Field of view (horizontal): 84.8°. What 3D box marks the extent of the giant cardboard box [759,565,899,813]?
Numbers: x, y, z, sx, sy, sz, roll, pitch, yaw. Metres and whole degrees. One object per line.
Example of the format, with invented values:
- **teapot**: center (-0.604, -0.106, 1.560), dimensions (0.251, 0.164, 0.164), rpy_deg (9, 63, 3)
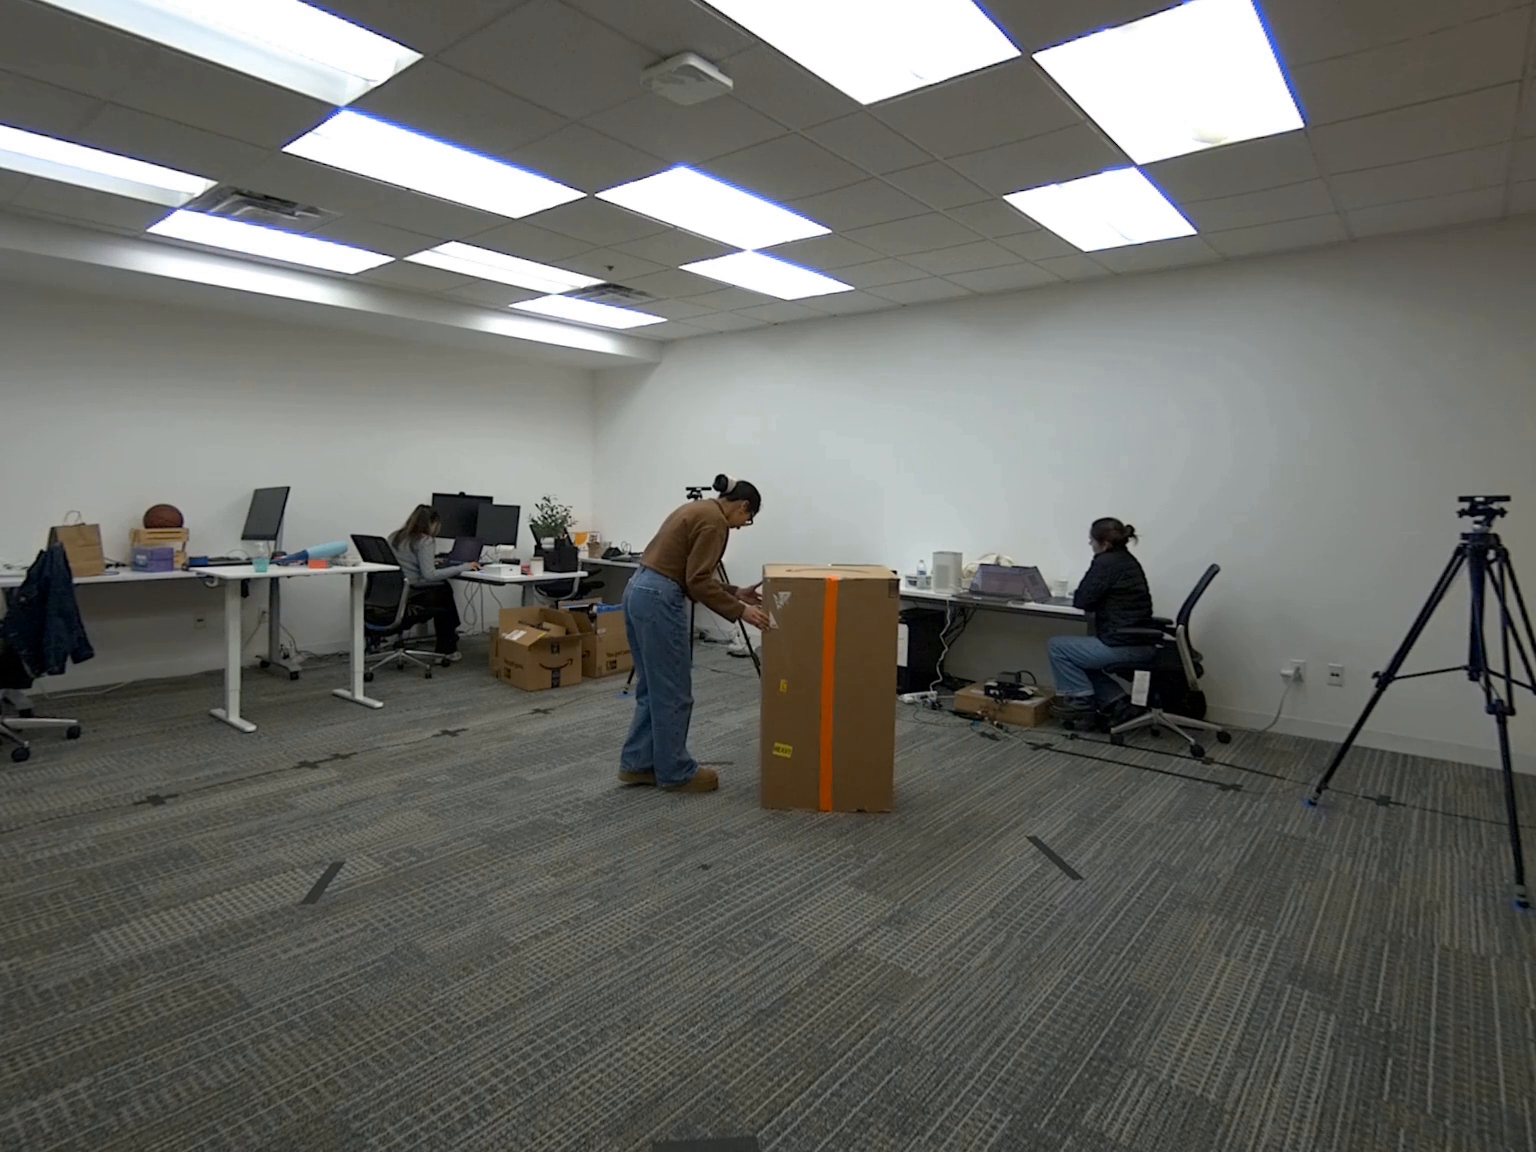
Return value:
- **giant cardboard box**: center (0.250, 0.482, 3.852), dimensions (0.579, 1.020, 0.428), rpy_deg (1, 6, 1)
